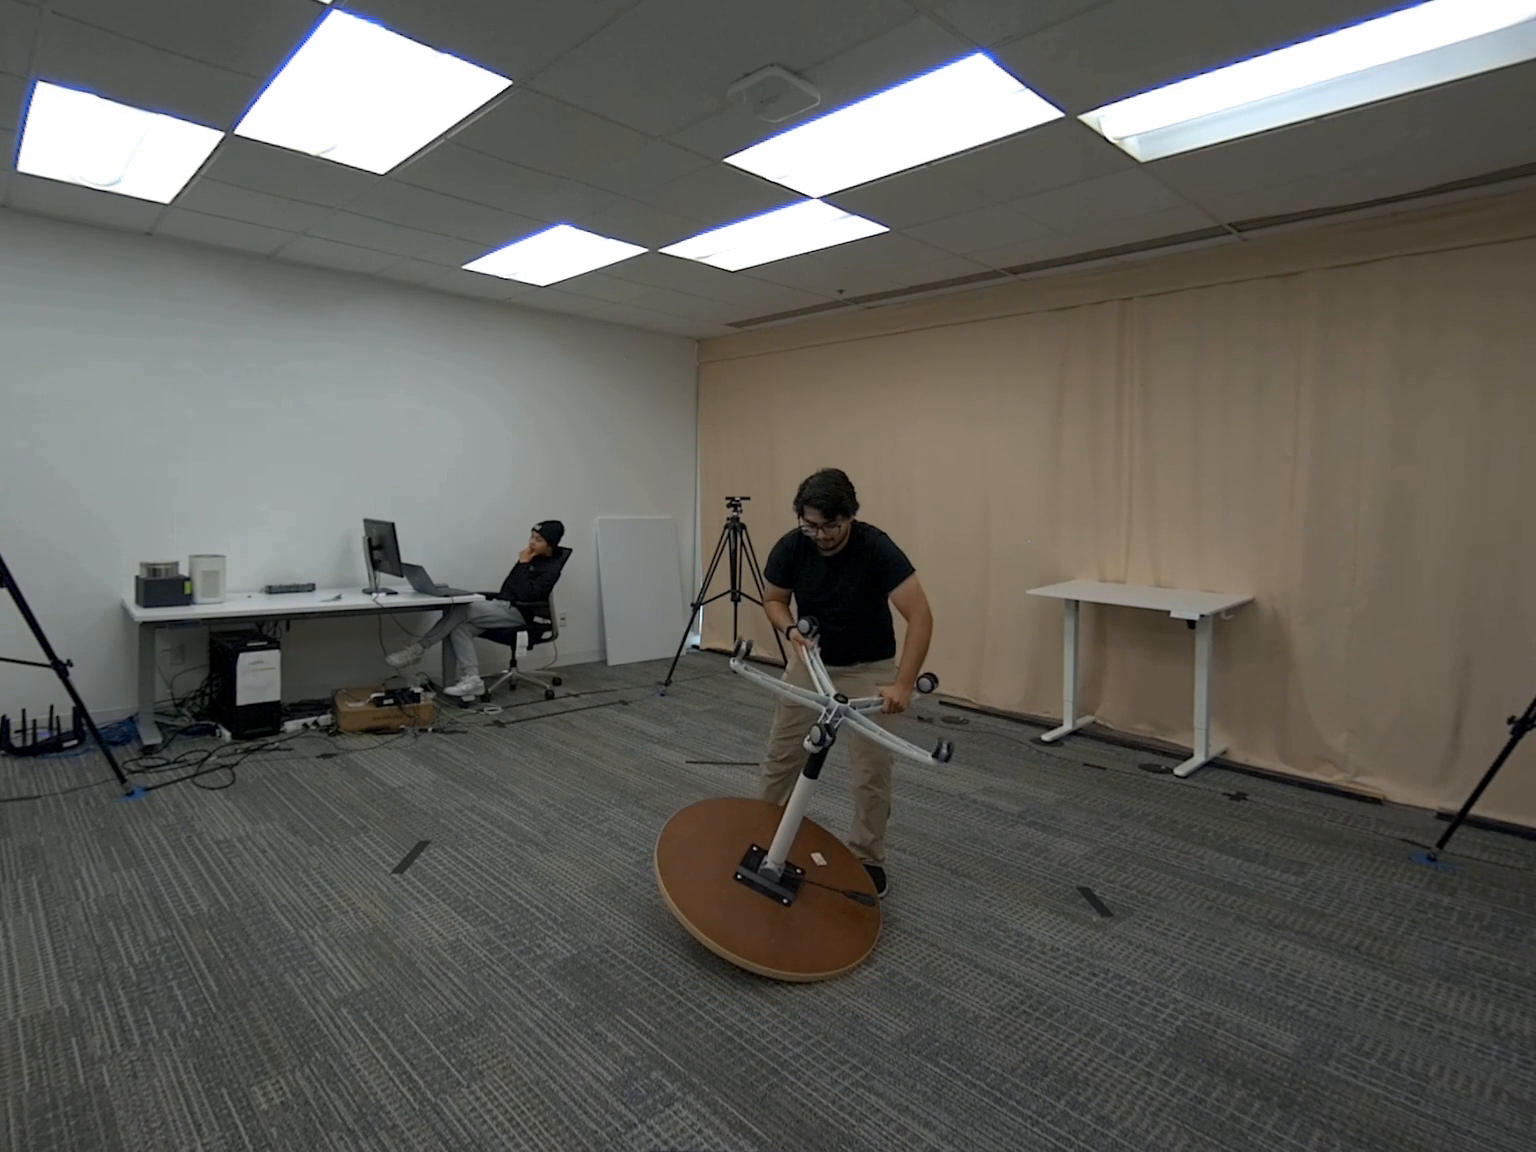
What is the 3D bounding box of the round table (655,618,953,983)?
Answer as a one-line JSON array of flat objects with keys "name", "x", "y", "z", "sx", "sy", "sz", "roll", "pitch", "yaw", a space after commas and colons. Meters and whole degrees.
[{"name": "round table", "x": 0.107, "y": 0.650, "z": 2.608, "sx": 0.780, "sy": 0.780, "sz": 0.796, "roll": 15, "pitch": 19, "yaw": -7}]
